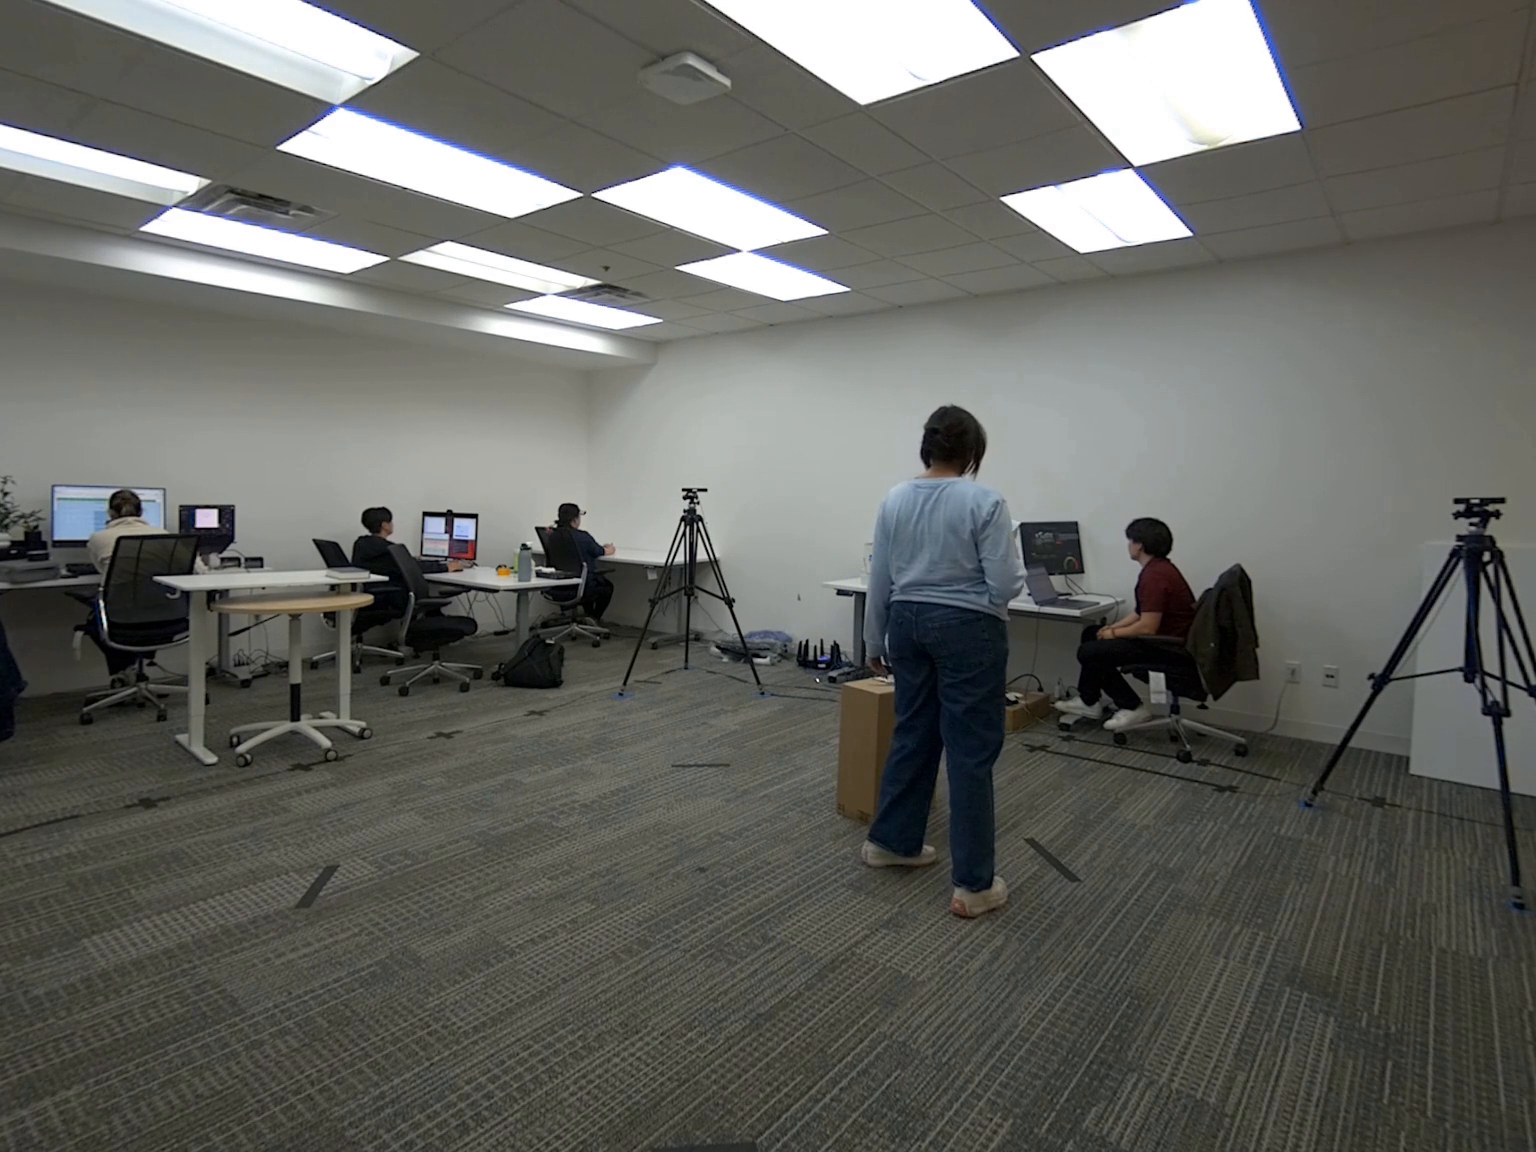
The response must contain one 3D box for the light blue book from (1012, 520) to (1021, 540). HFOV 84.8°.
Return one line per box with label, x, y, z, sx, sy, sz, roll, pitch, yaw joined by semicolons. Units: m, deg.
light blue book;0.809;-0.137;3.196;0.198;0.057;0.259;18;44;35
